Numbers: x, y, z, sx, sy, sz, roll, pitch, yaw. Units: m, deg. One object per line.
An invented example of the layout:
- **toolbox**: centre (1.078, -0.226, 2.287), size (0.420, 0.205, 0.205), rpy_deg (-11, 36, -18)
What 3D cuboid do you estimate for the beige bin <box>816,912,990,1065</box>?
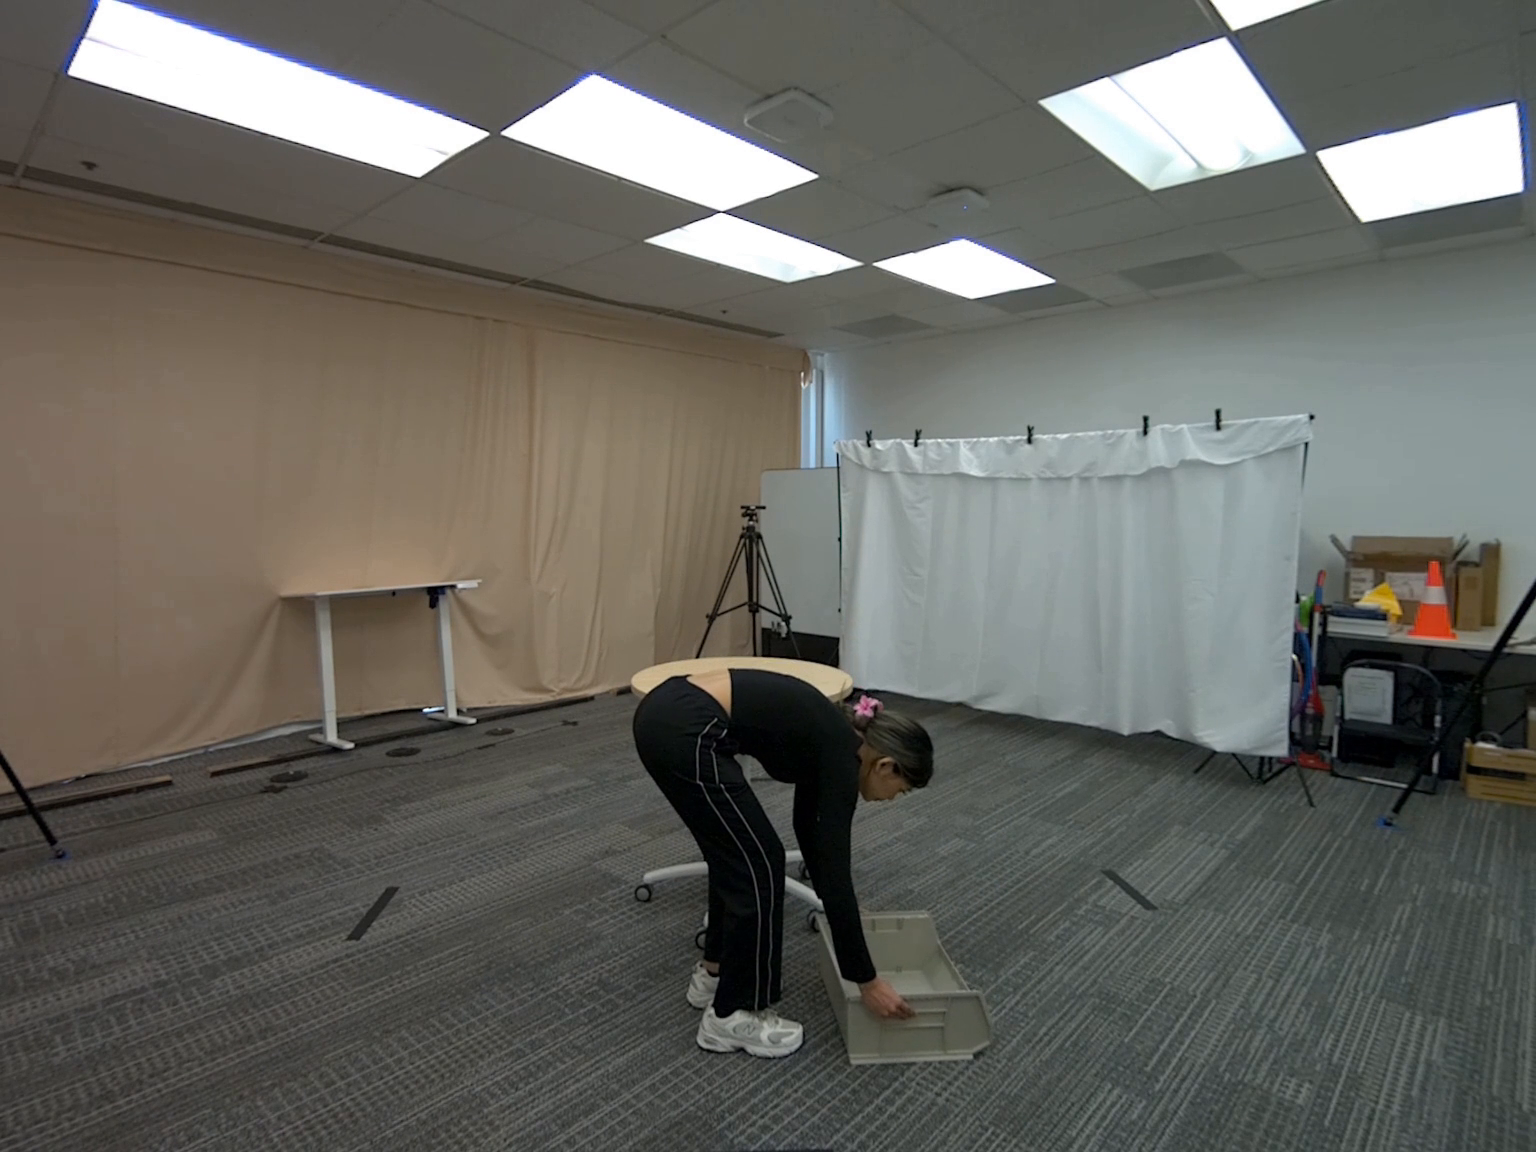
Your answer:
- **beige bin**: centre (0.361, 1.112, 2.302), size (0.375, 0.188, 0.426), rpy_deg (-1, 5, -6)
